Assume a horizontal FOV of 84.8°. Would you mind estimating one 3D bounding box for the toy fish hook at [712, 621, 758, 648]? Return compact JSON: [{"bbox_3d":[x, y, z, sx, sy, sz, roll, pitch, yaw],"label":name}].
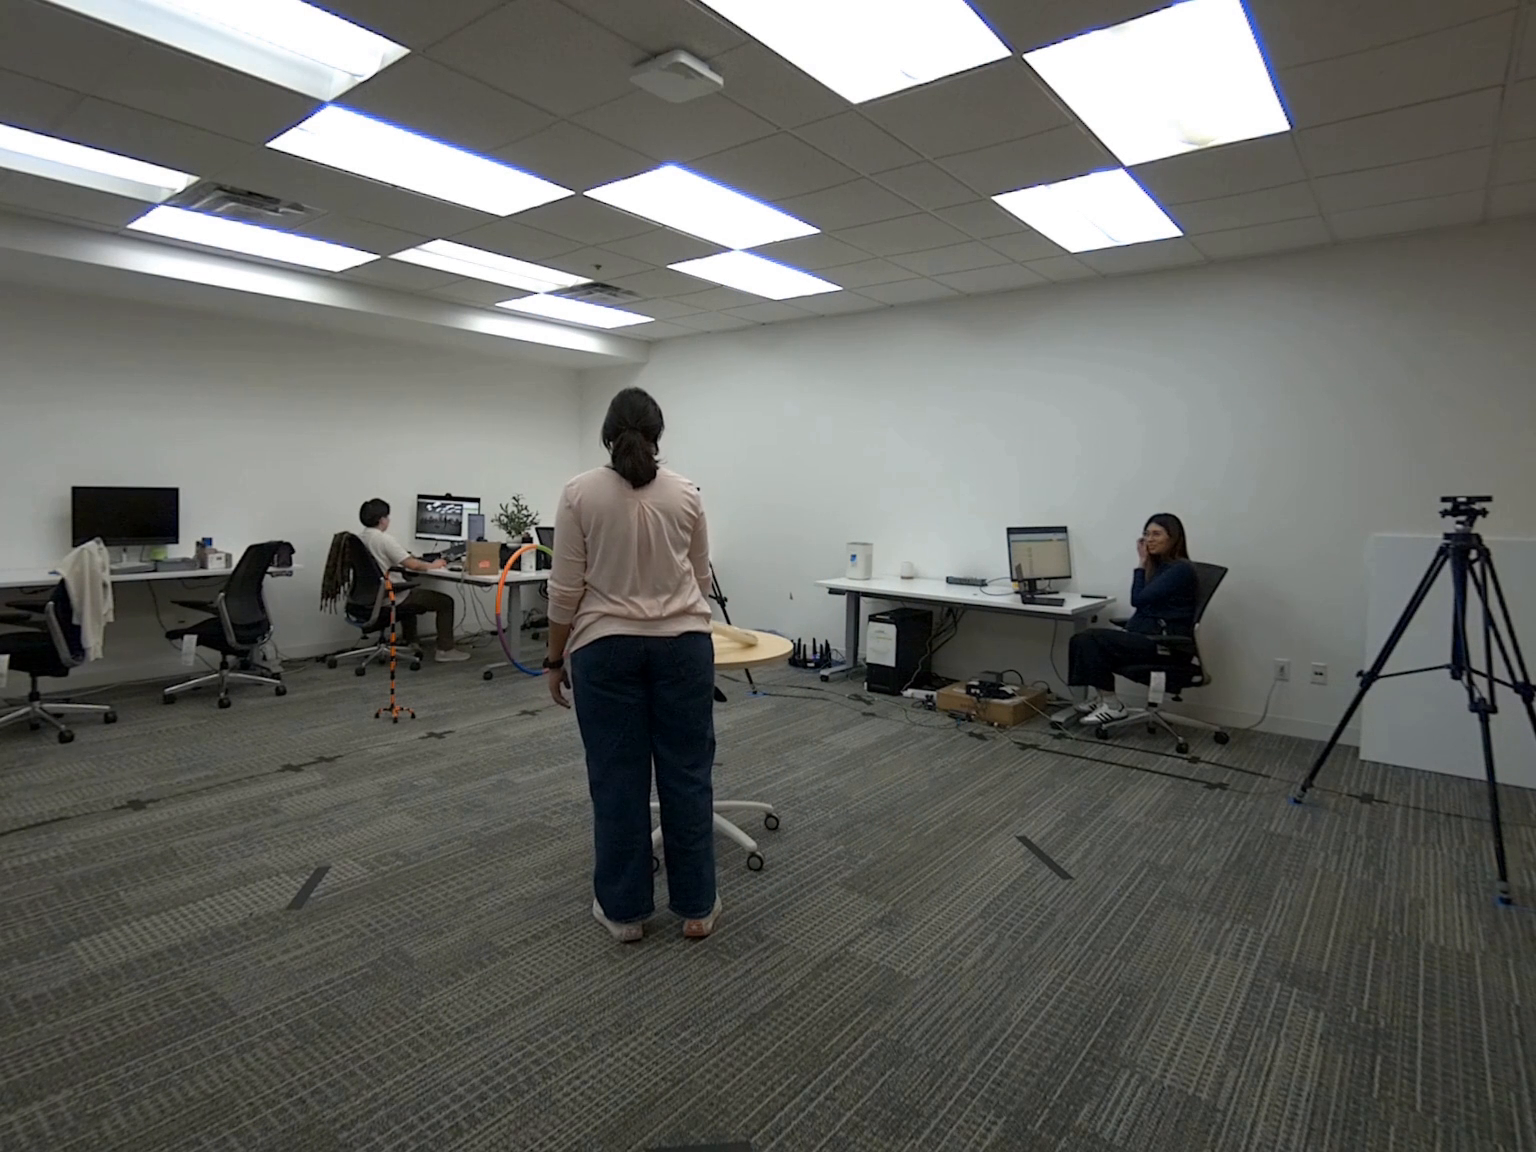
[{"bbox_3d":[-0.257,0.178,3.223,0.487,0.048,0.233,21,-3,-43],"label":"toy fish hook"}]
